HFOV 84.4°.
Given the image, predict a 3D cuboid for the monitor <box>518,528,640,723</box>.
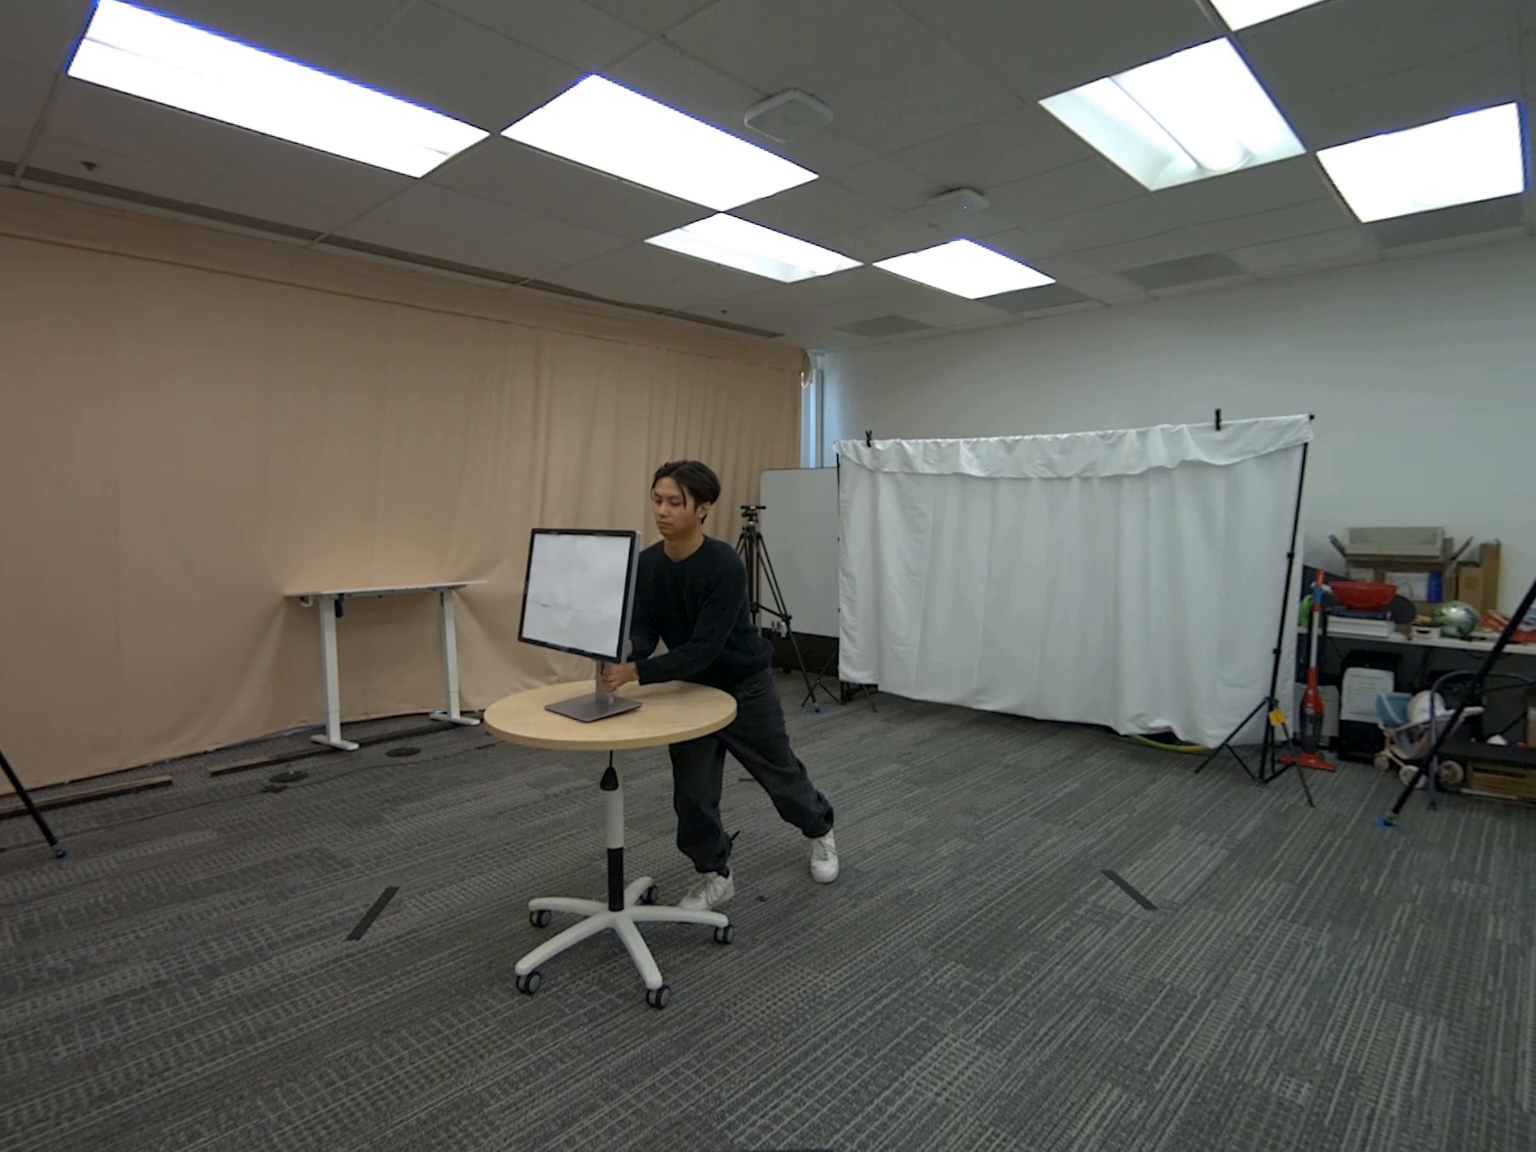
[{"bbox_3d":[-0.539,0.130,2.515,0.548,0.512,0.170,5,13,44],"label":"monitor"}]
